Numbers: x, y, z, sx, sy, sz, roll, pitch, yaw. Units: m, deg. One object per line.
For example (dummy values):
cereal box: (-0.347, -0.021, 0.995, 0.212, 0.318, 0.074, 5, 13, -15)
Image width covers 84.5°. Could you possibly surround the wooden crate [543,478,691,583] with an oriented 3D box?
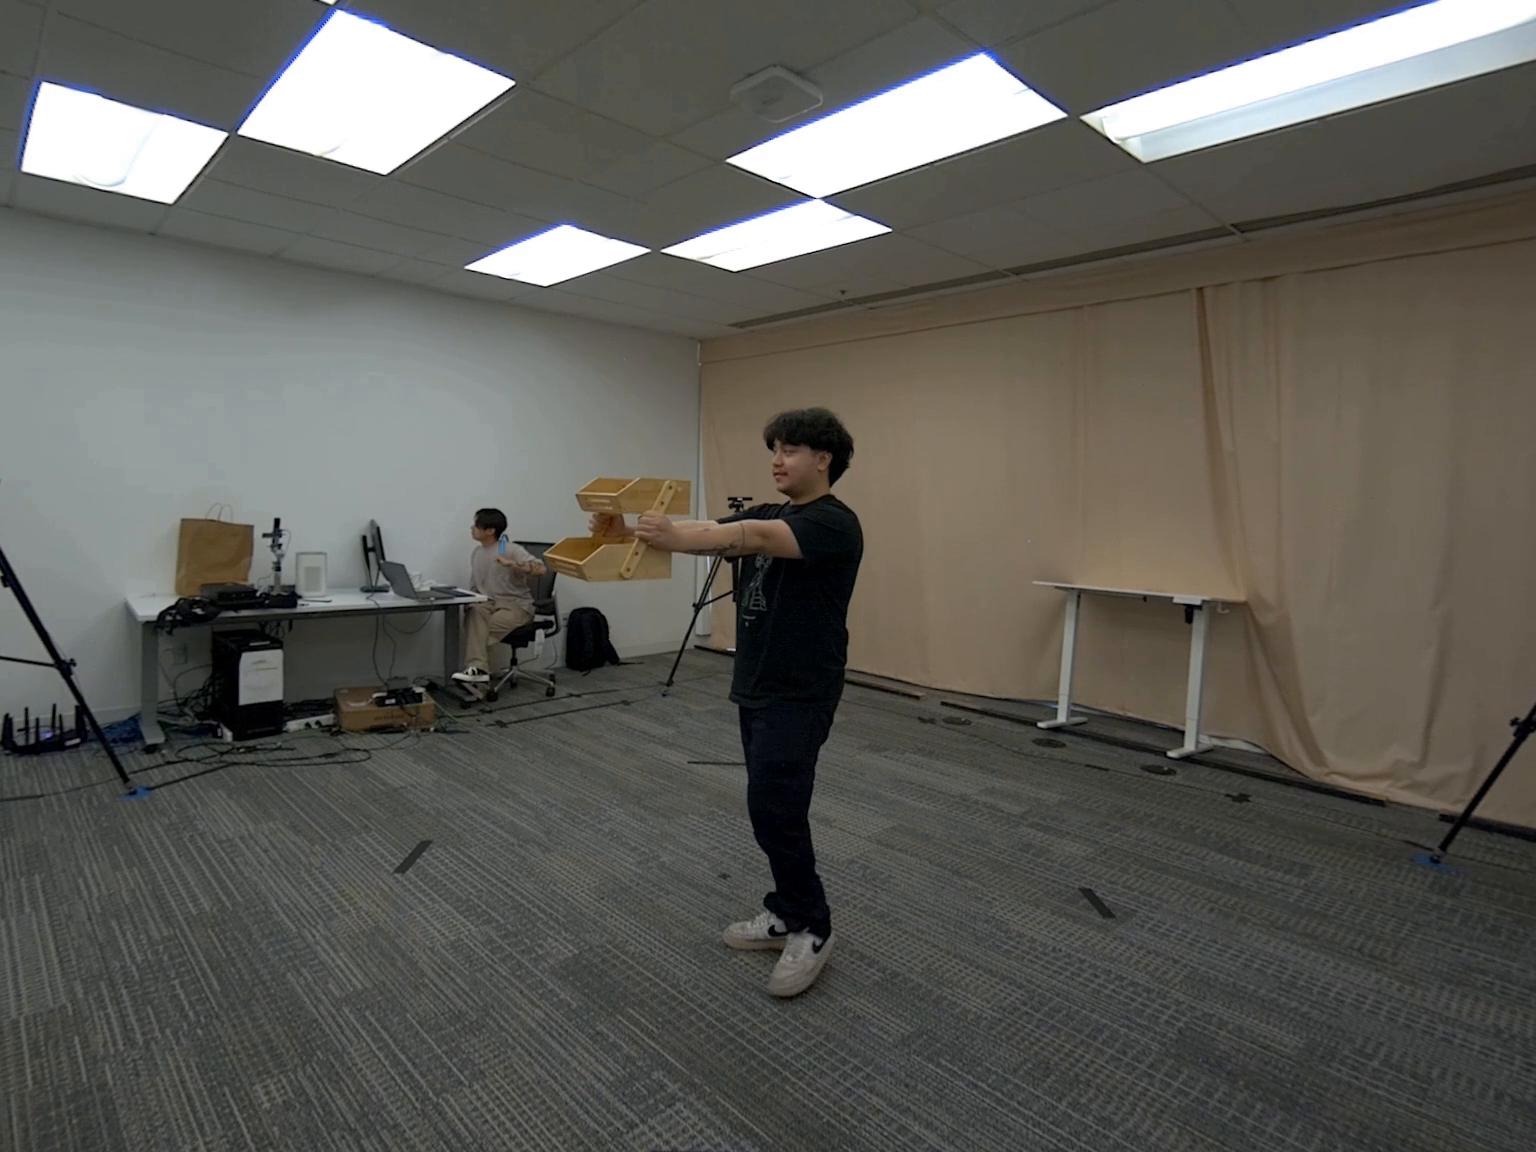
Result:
wooden crate: (-0.427, -0.136, 2.266, 0.296, 0.272, 0.332, -1, 5, -32)
